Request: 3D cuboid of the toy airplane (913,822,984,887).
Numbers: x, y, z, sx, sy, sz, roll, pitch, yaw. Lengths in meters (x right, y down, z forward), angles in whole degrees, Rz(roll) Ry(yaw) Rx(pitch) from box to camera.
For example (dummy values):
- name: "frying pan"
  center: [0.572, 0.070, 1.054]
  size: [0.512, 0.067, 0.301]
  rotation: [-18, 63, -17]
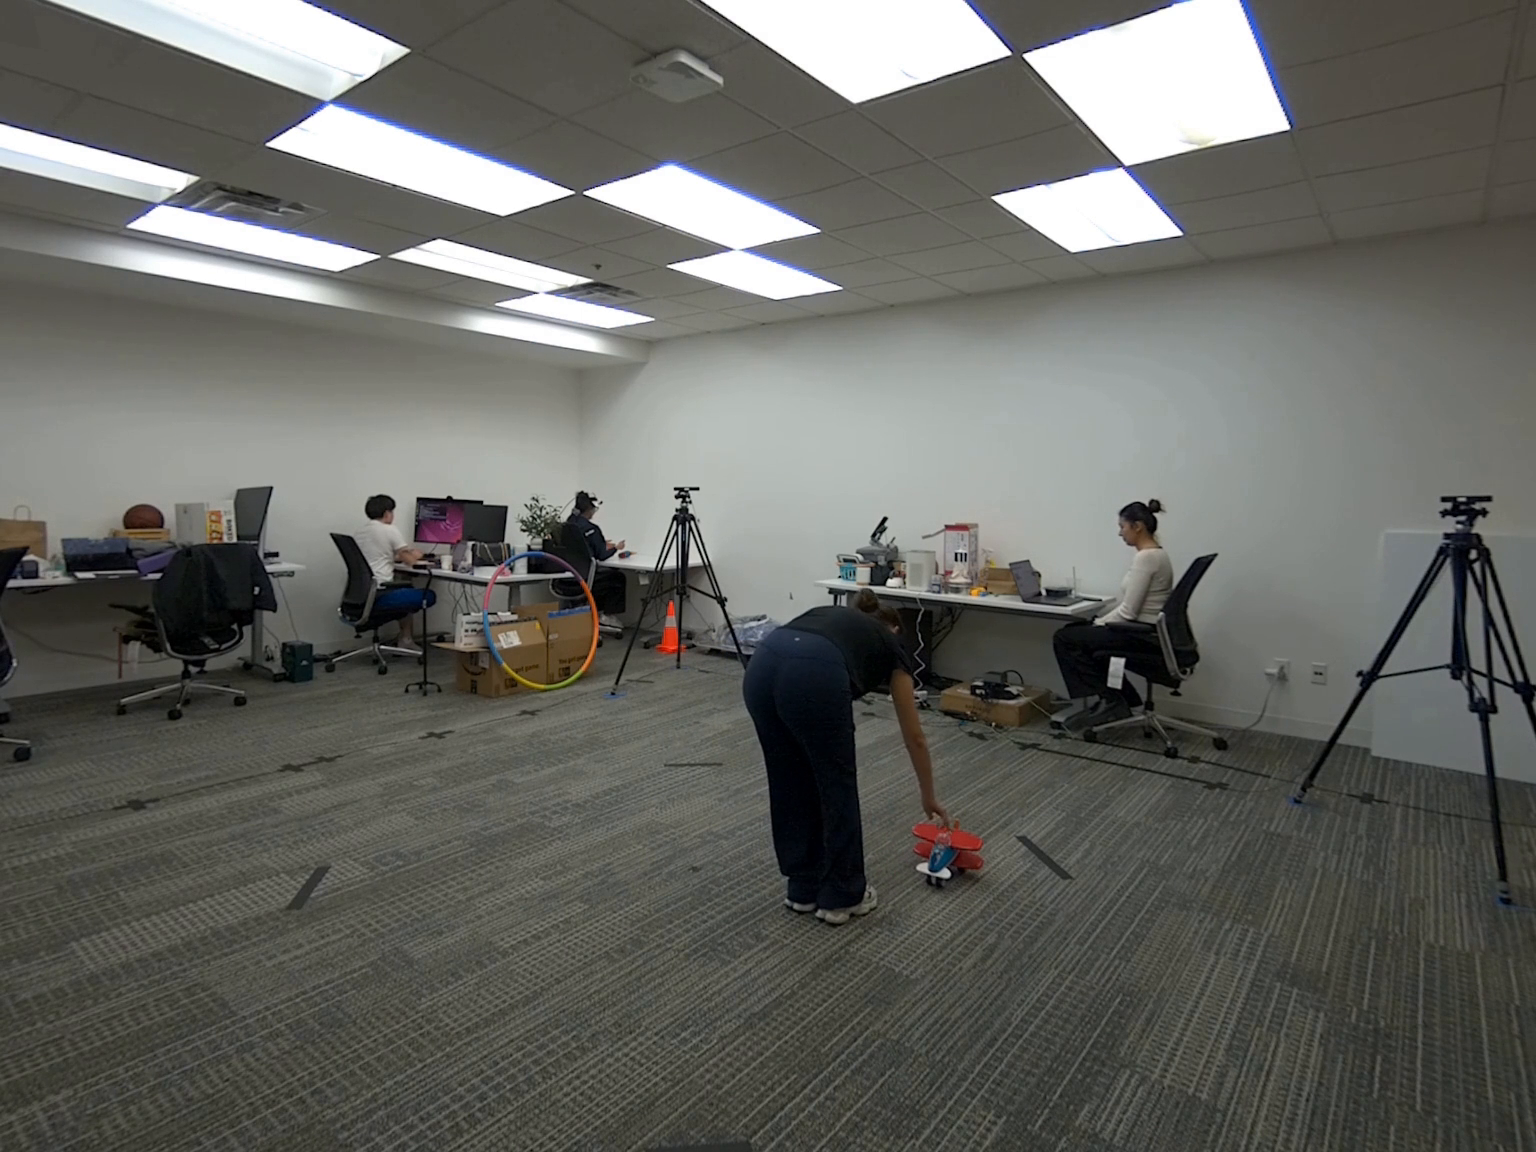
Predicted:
- name: "toy airplane"
  center: [0.676, 1.014, 3.085]
  size: [0.253, 0.156, 0.258]
  rotation: [2, 4, 5]
